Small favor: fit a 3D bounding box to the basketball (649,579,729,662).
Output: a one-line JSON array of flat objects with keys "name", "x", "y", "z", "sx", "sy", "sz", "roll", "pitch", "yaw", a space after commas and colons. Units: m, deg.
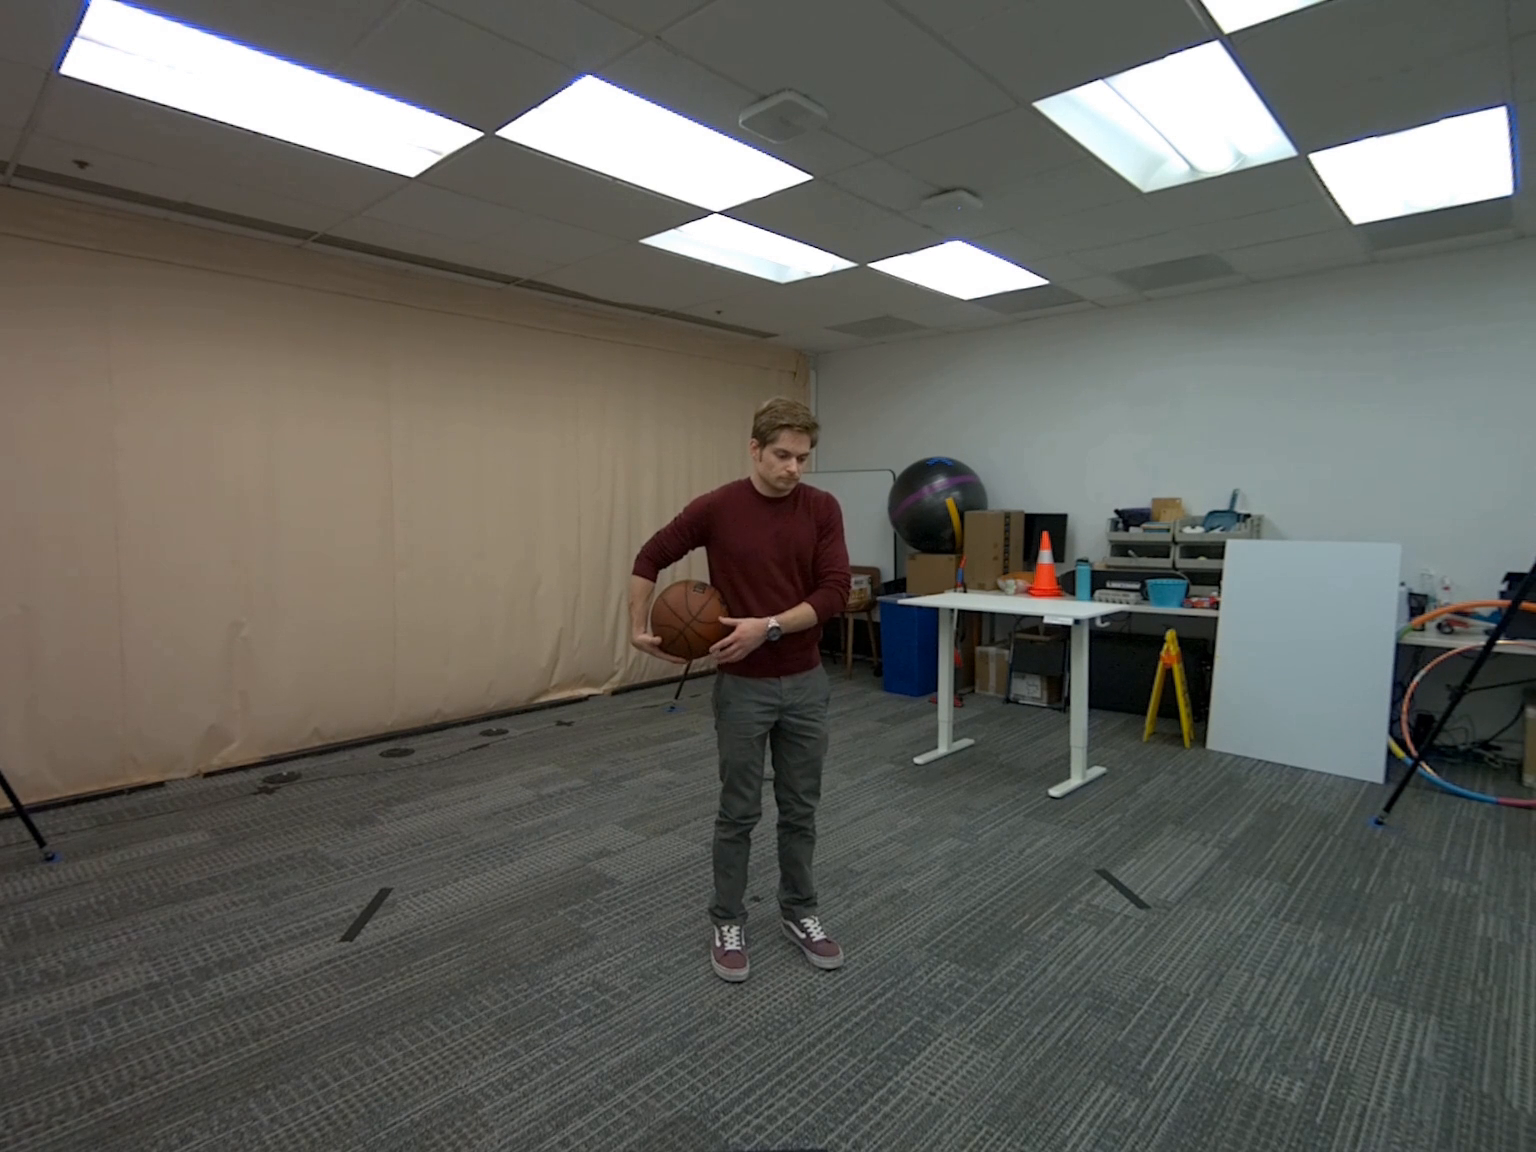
[{"name": "basketball", "x": -0.217, "y": 0.134, "z": 2.525, "sx": 0.236, "sy": 0.235, "sz": 0.237, "roll": 0, "pitch": 4, "yaw": -2}]
